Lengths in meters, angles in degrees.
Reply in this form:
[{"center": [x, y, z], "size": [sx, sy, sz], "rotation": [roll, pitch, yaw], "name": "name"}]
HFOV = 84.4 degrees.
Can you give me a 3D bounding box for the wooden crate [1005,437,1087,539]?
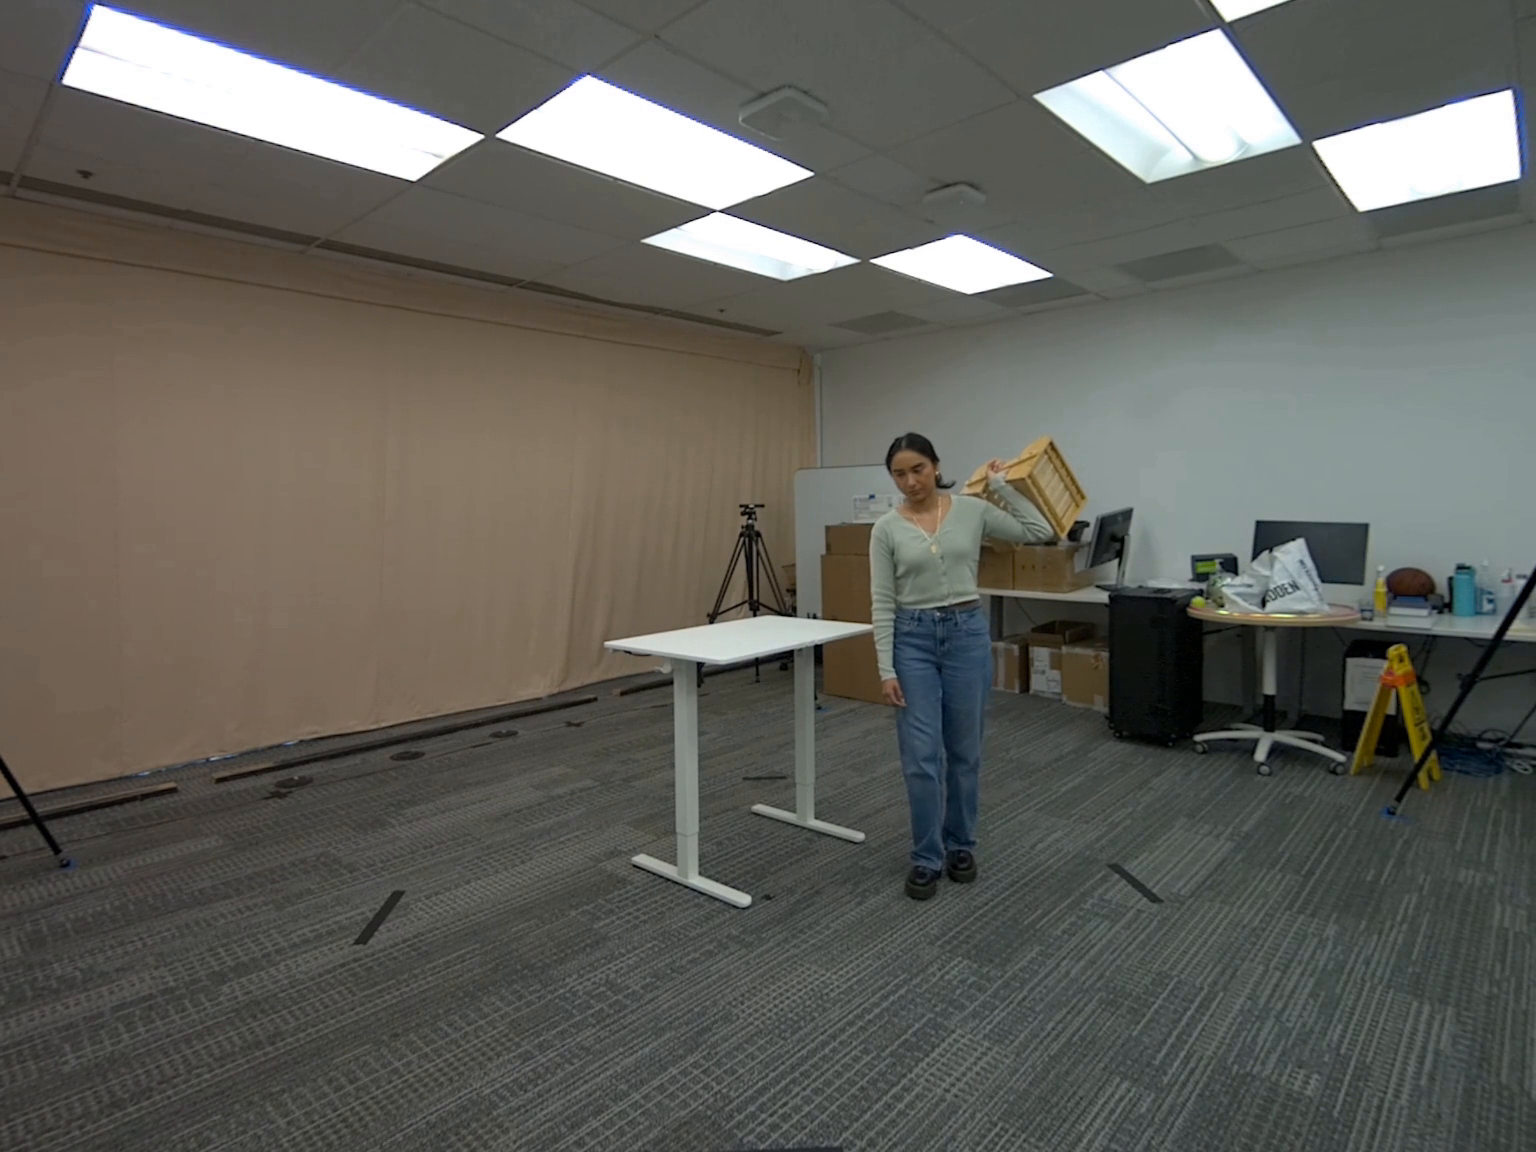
[{"center": [0.966, -0.301, 3.151], "size": [0.281, 0.317, 0.300], "rotation": [-8, 36, 54], "name": "wooden crate"}]
